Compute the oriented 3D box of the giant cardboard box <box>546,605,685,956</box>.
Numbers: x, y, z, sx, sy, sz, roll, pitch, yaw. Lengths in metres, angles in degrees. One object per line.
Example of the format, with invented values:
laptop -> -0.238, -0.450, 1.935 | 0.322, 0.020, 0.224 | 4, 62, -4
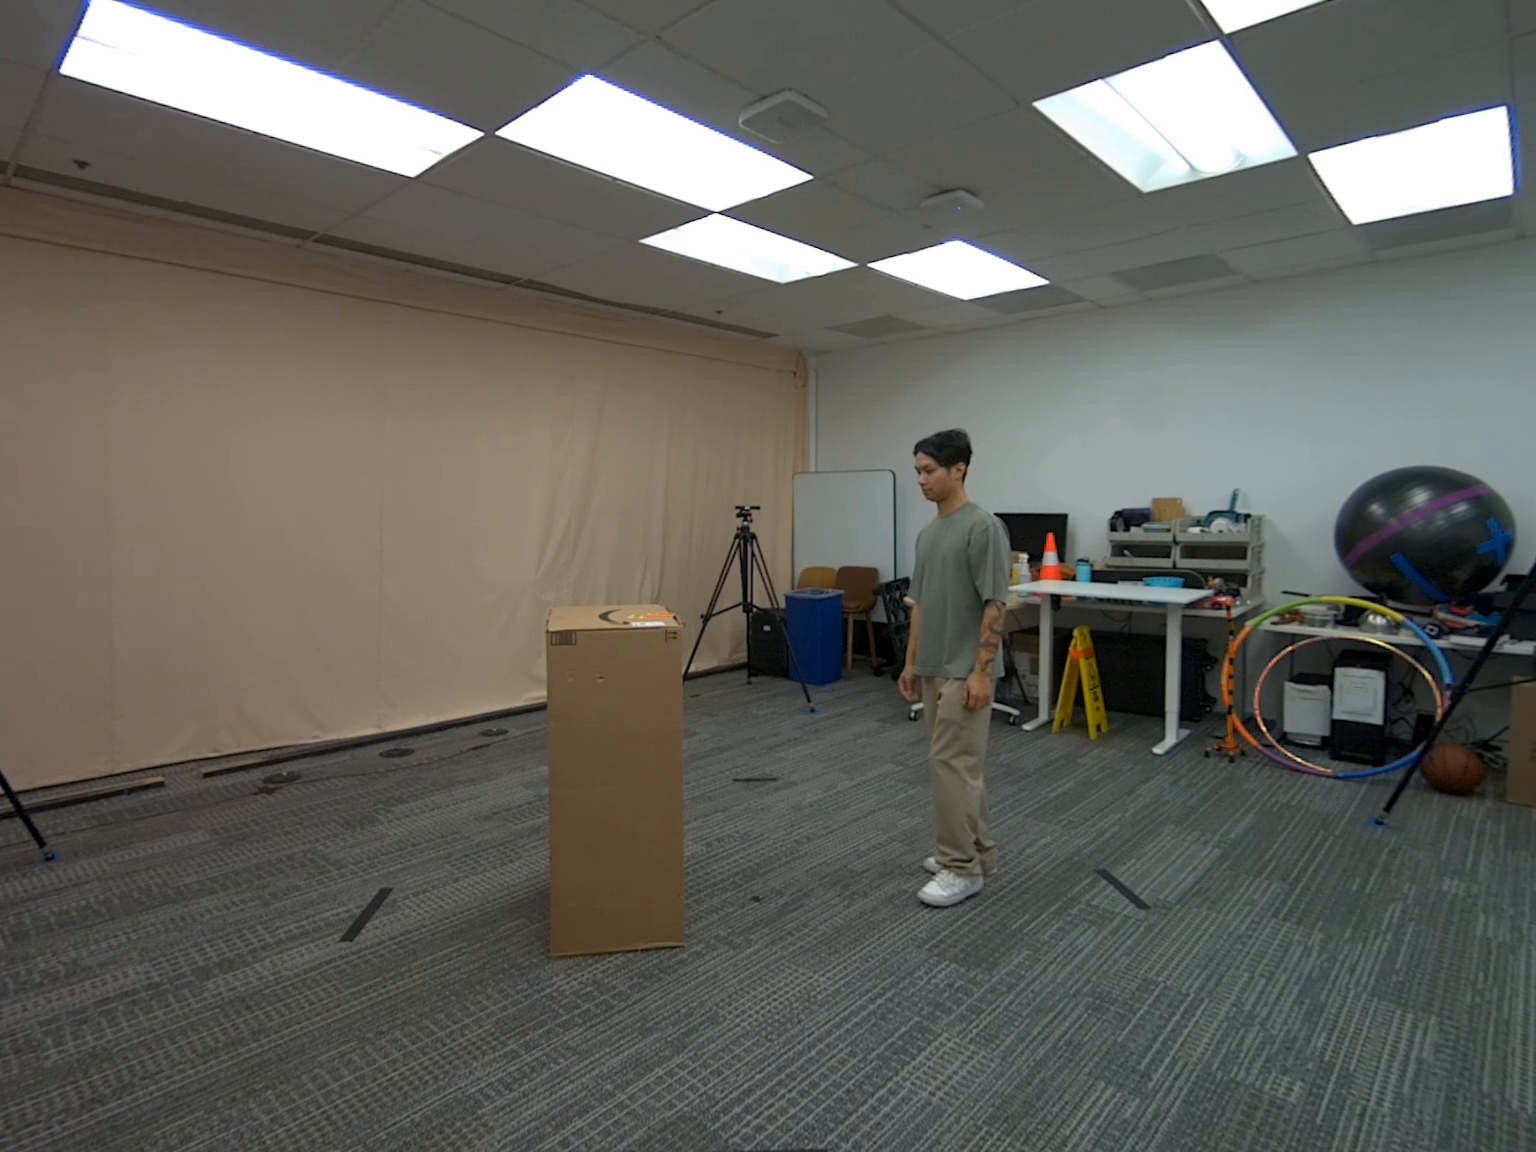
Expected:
giant cardboard box -> -0.534, 0.651, 2.888 | 0.422, 1.023, 0.585 | -2, 4, -11
